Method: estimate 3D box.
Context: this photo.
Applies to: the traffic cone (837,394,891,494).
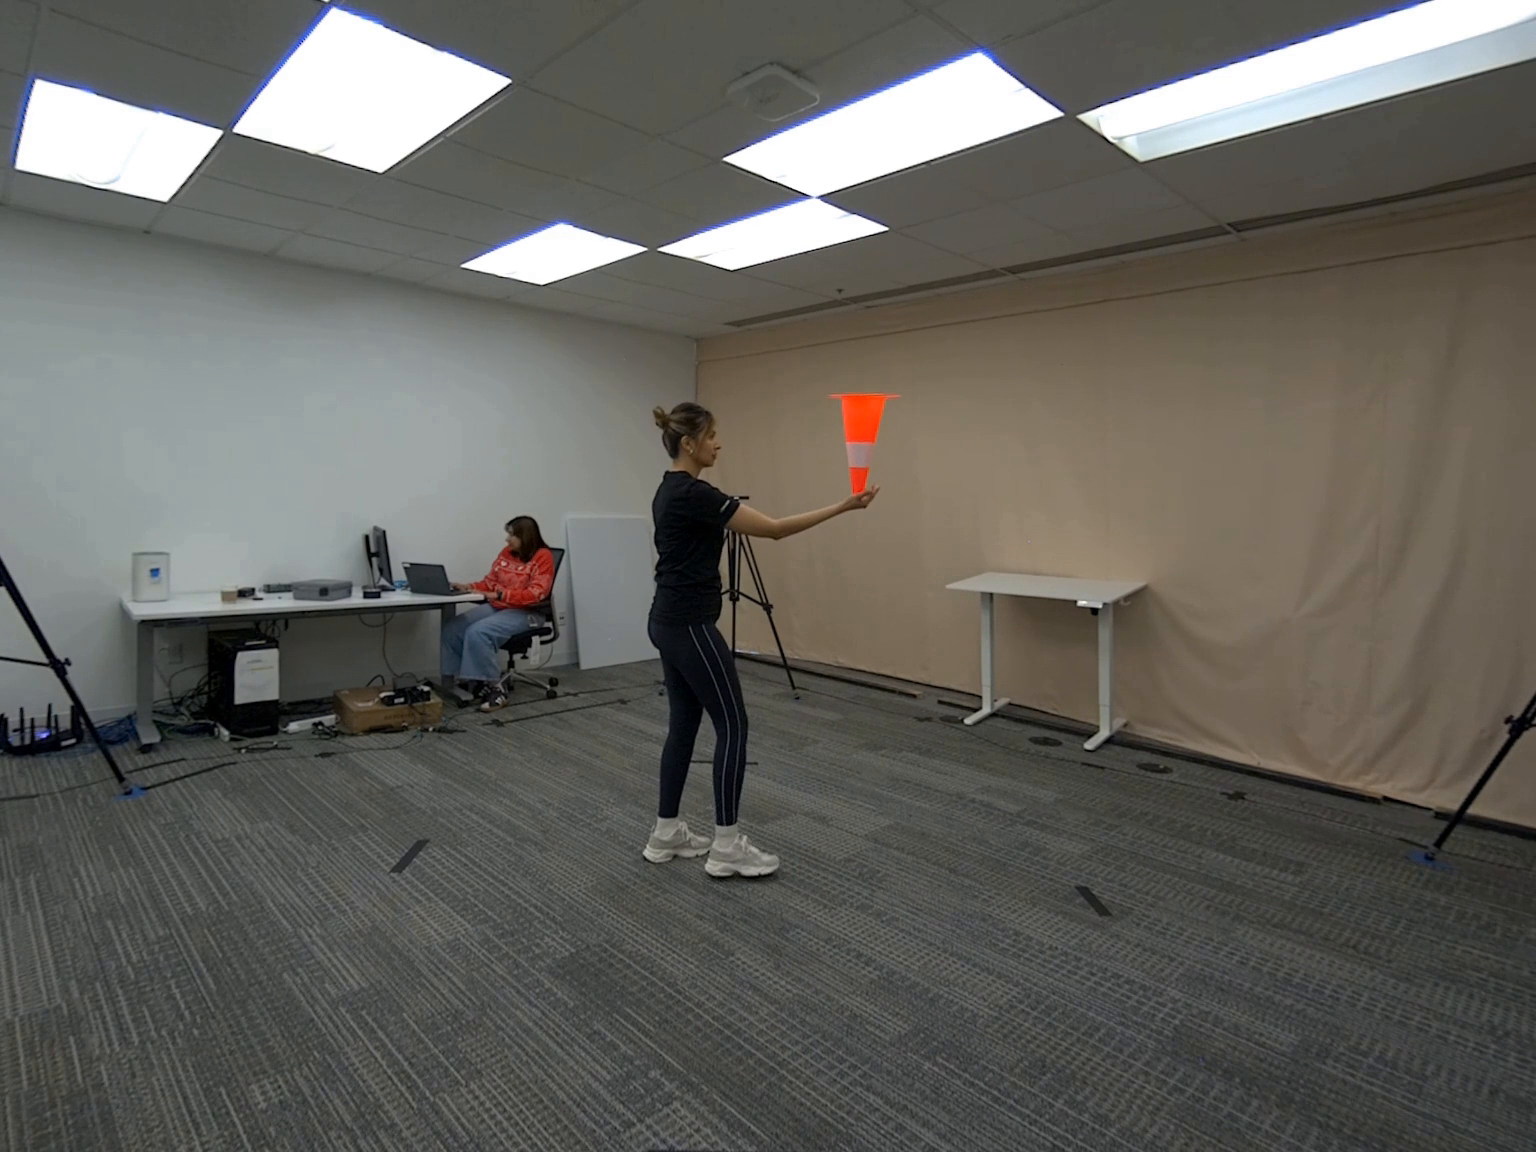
[{"bbox_3d":[0.331,-0.462,3.042,0.200,0.382,0.209,-1,5,-24],"label":"traffic cone"}]
